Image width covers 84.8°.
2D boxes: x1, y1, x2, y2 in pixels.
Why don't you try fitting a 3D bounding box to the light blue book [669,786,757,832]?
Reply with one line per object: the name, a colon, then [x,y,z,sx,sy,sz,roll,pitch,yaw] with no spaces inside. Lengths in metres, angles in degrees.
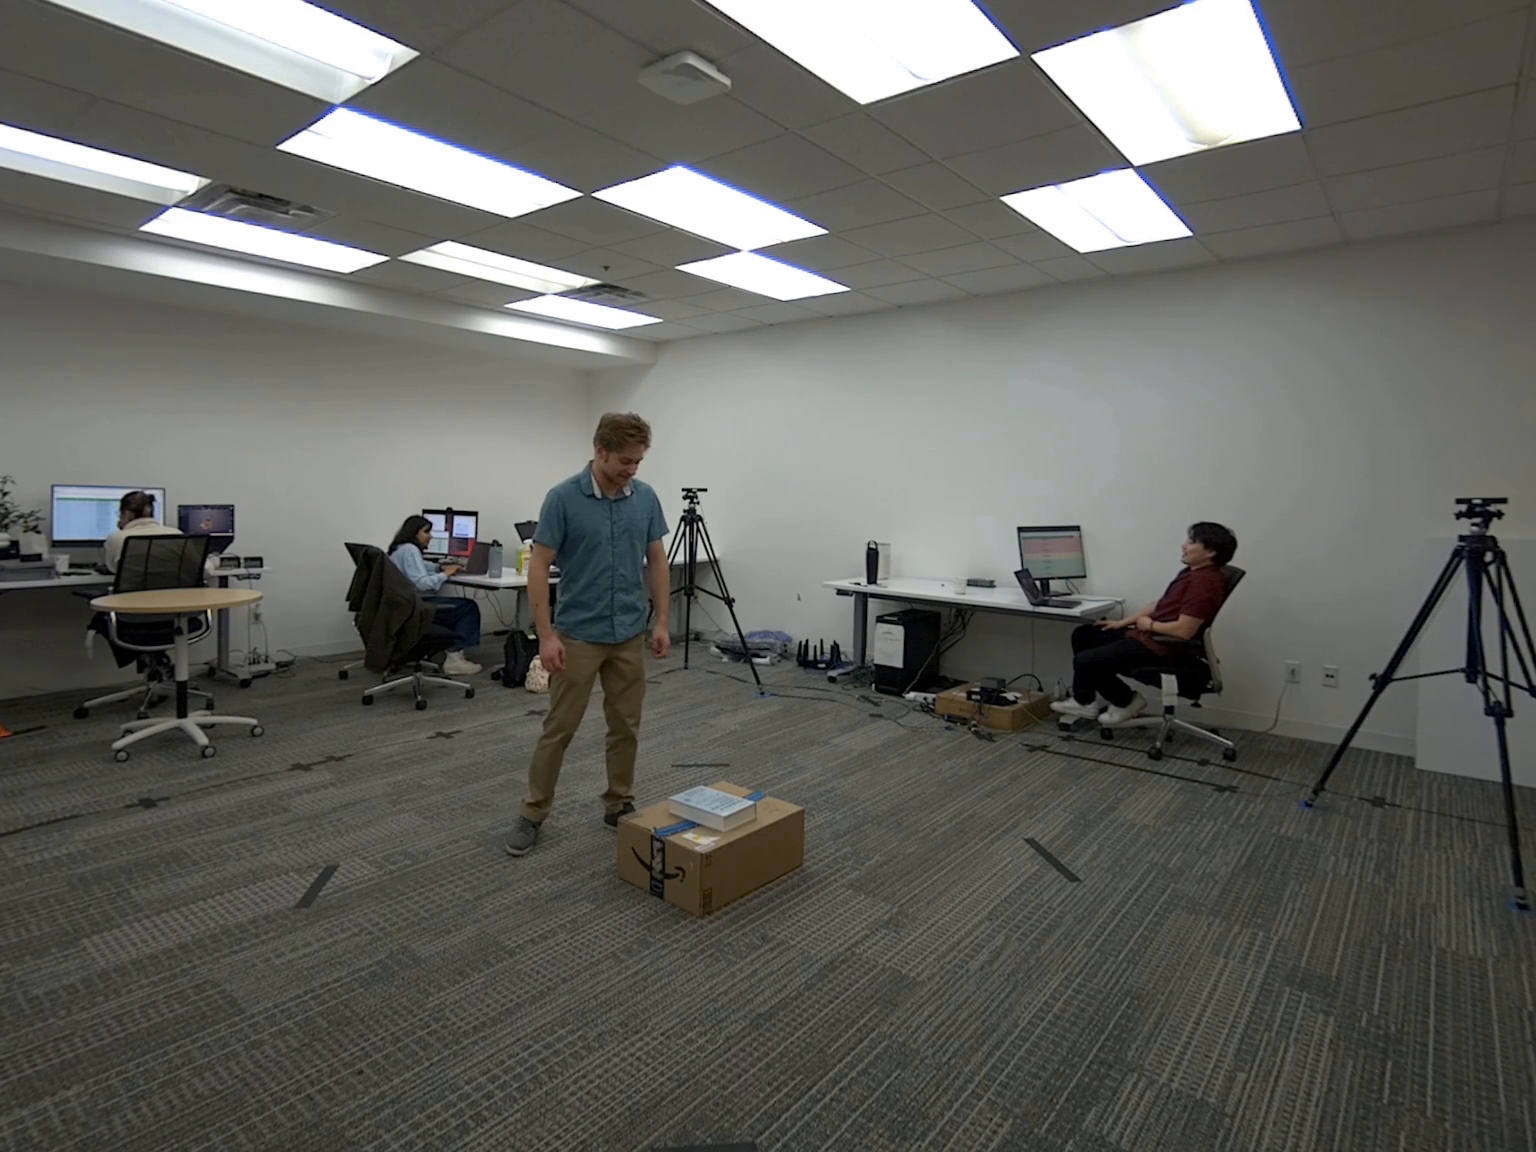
light blue book: [-0.208,0.831,3.080,0.270,0.059,0.186,5,7,38]
